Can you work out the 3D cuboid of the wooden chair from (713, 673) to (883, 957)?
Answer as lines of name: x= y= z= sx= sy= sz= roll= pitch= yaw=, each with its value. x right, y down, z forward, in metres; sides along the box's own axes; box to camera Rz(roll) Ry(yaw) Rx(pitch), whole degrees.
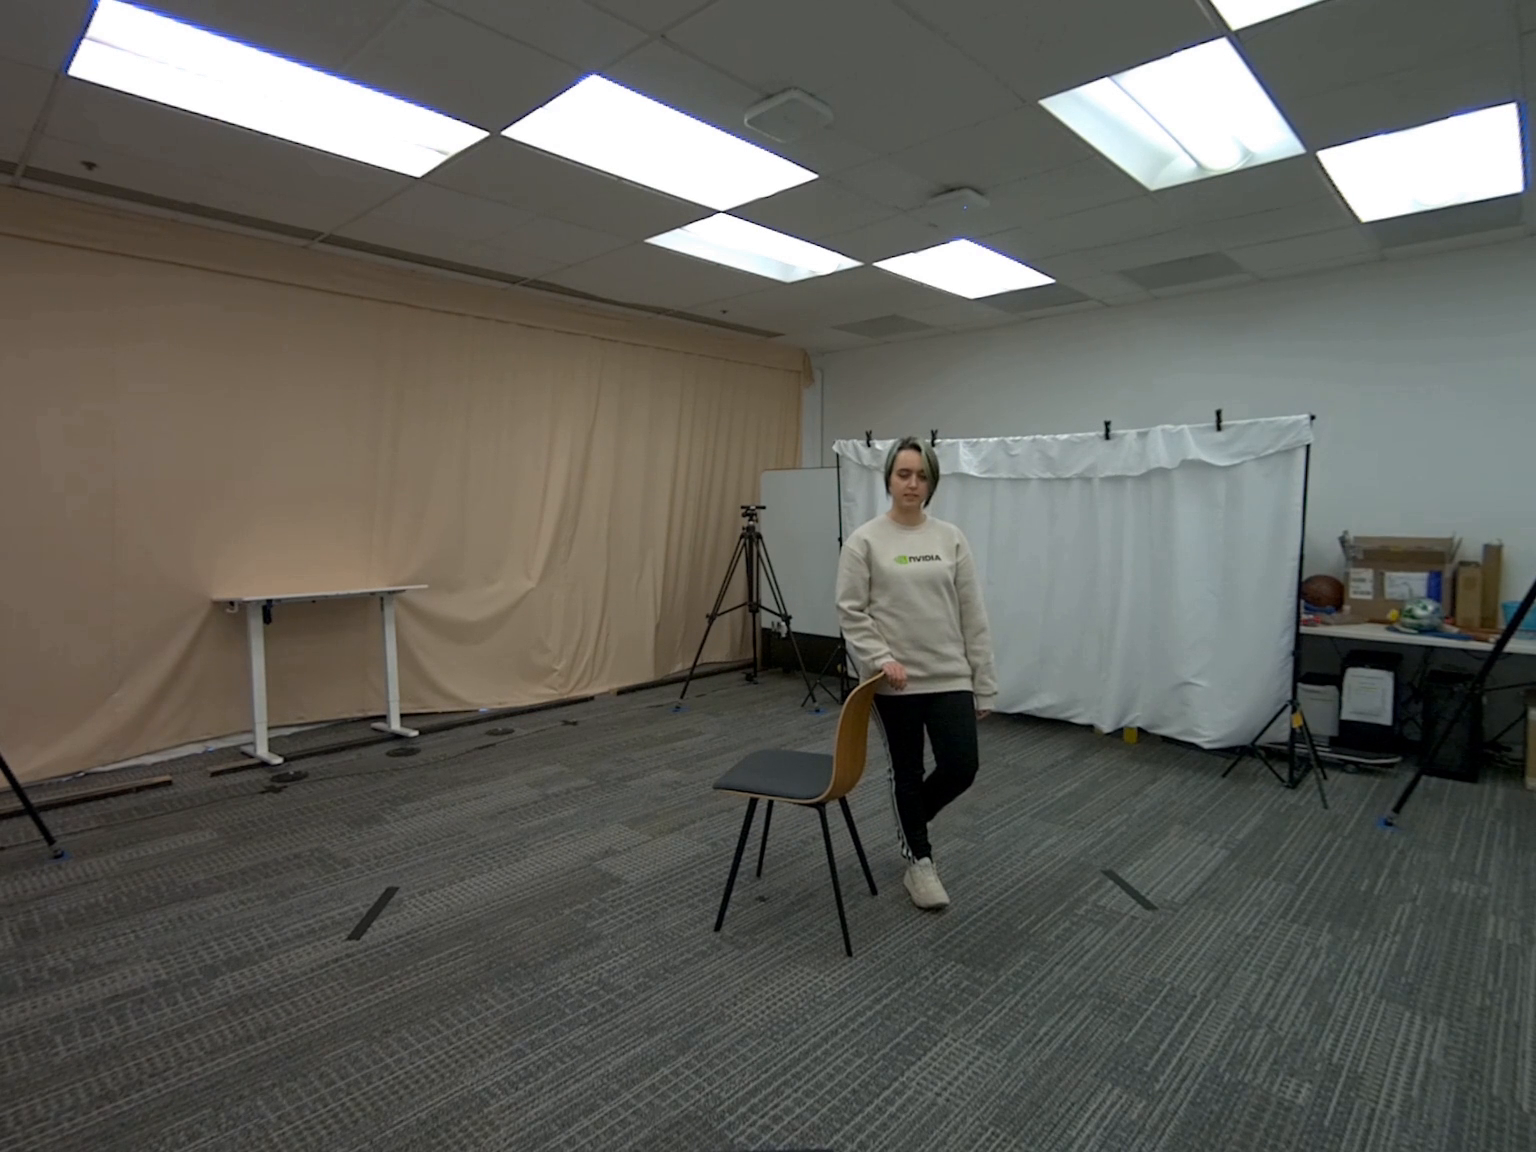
wooden chair: x=0.100 y=0.727 z=2.853 sx=0.535 sy=0.875 sz=0.469 roll=5 pitch=5 yaw=20
